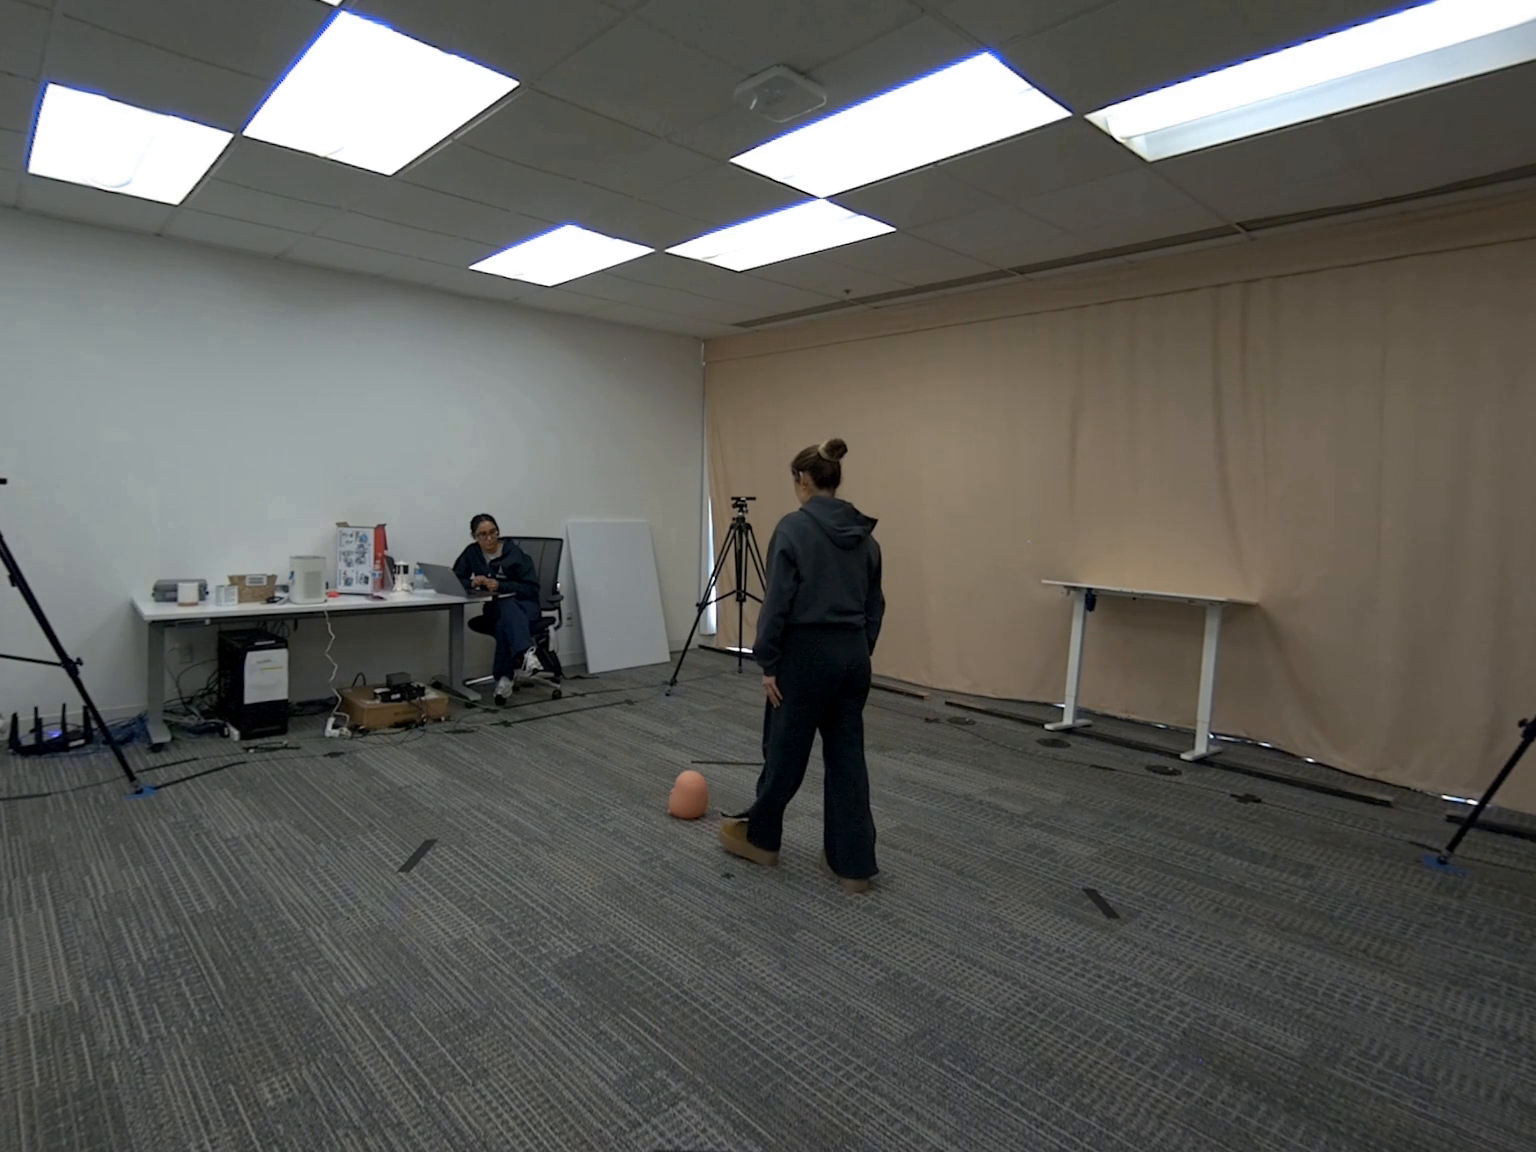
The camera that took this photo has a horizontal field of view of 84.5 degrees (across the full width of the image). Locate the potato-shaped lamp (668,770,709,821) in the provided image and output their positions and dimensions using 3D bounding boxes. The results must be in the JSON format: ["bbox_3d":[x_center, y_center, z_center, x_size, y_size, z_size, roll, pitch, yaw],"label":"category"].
[{"bbox_3d":[-0.360,0.949,3.694,0.175,0.197,0.161,5,5,36],"label":"potato-shaped lamp"}]
